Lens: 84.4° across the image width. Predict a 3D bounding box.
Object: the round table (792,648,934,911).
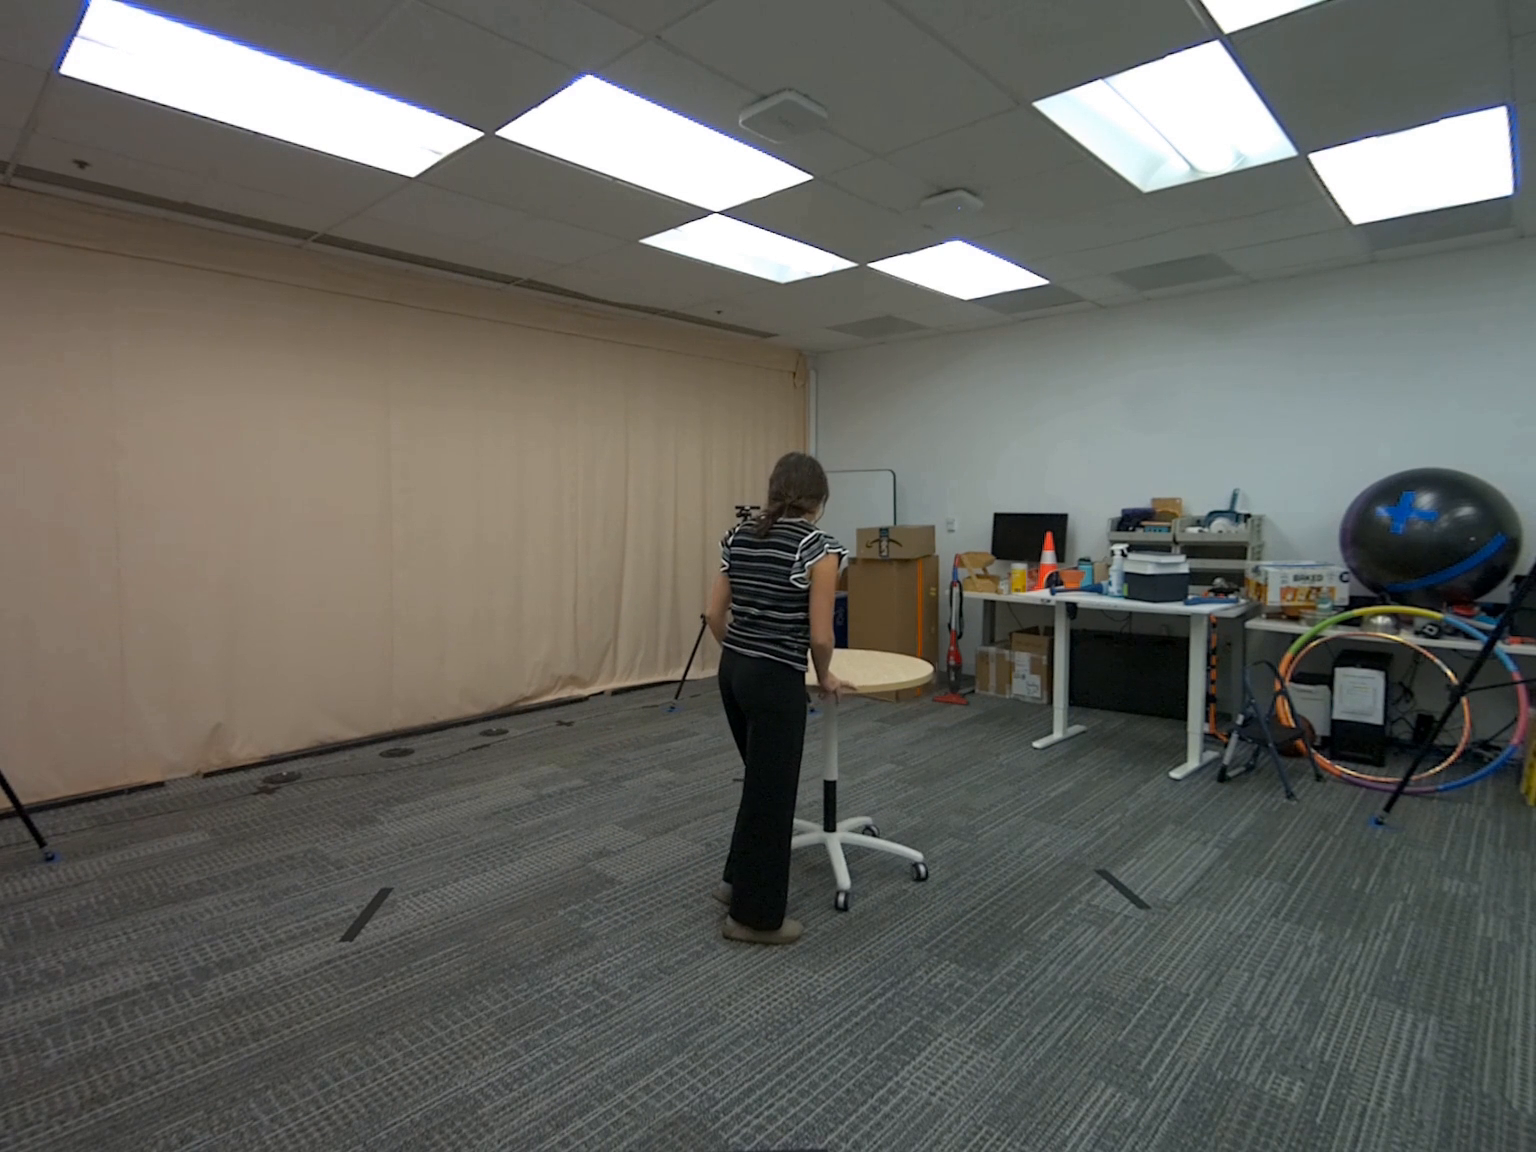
[{"bbox_3d":[0.233,0.726,3.232,0.784,0.785,0.788,0,3,-2],"label":"round table"}]
